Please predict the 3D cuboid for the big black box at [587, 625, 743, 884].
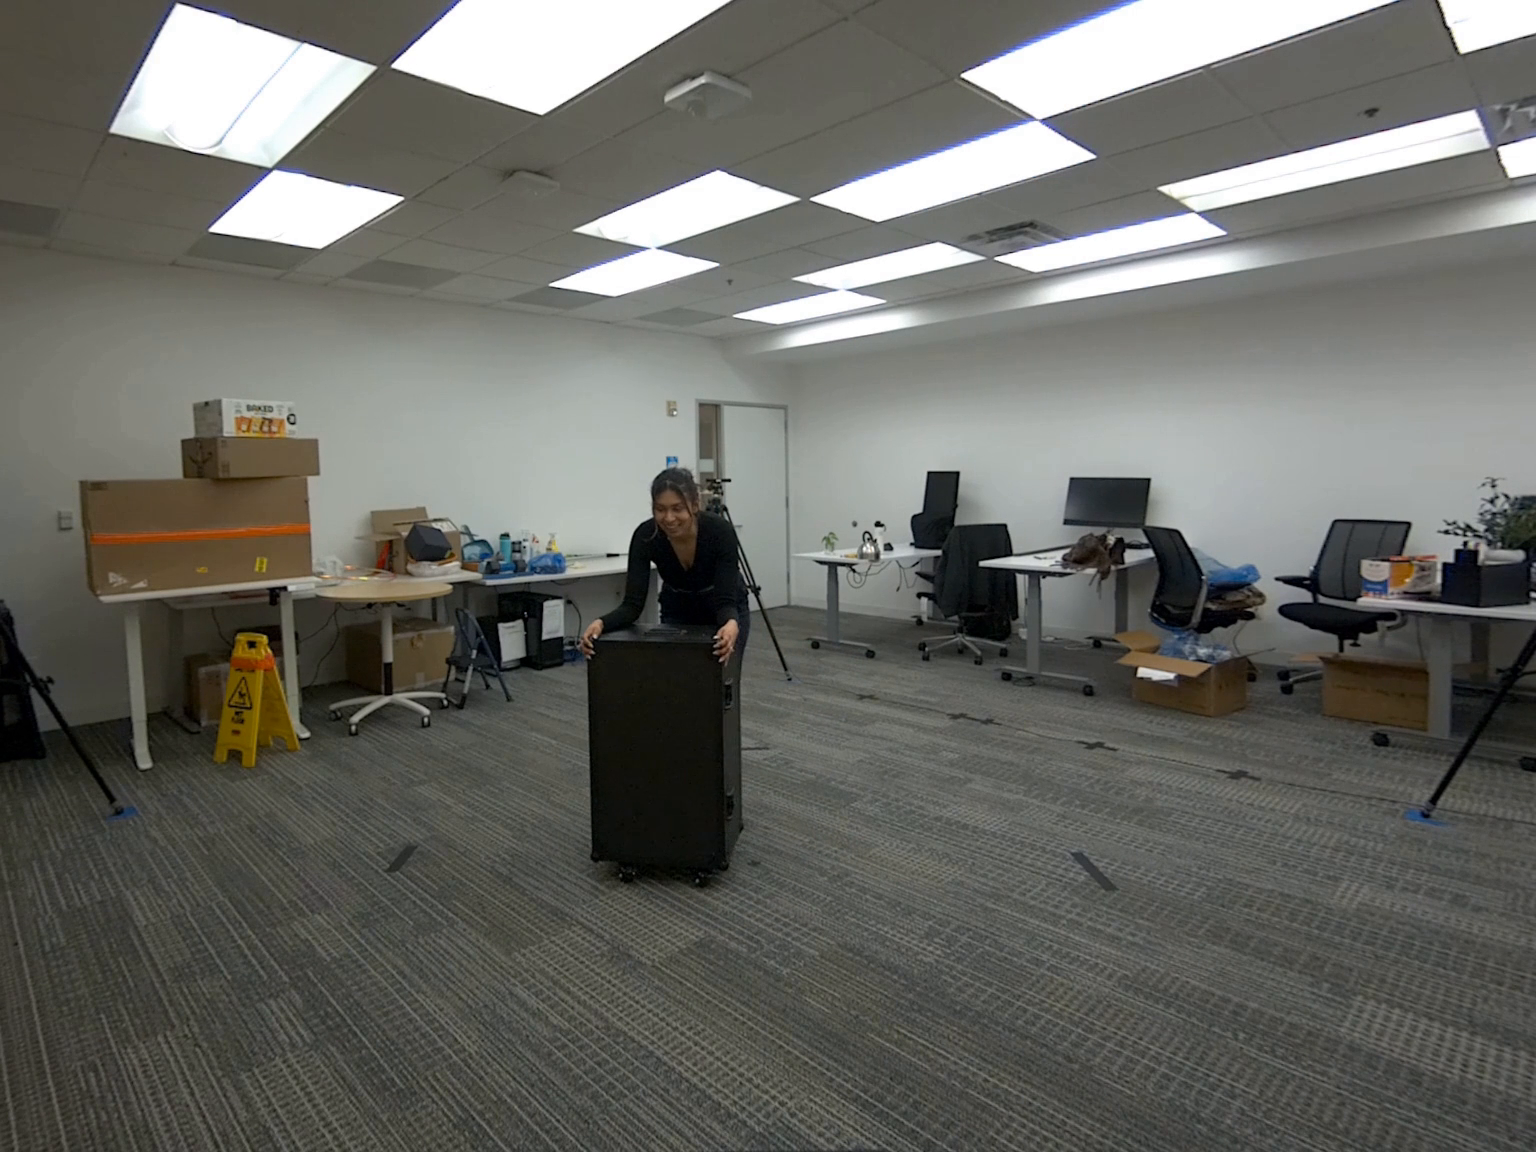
[{"bbox_3d":[-0.367,0.626,3.103,0.527,0.860,0.393,0,2,10],"label":"big black box"}]
